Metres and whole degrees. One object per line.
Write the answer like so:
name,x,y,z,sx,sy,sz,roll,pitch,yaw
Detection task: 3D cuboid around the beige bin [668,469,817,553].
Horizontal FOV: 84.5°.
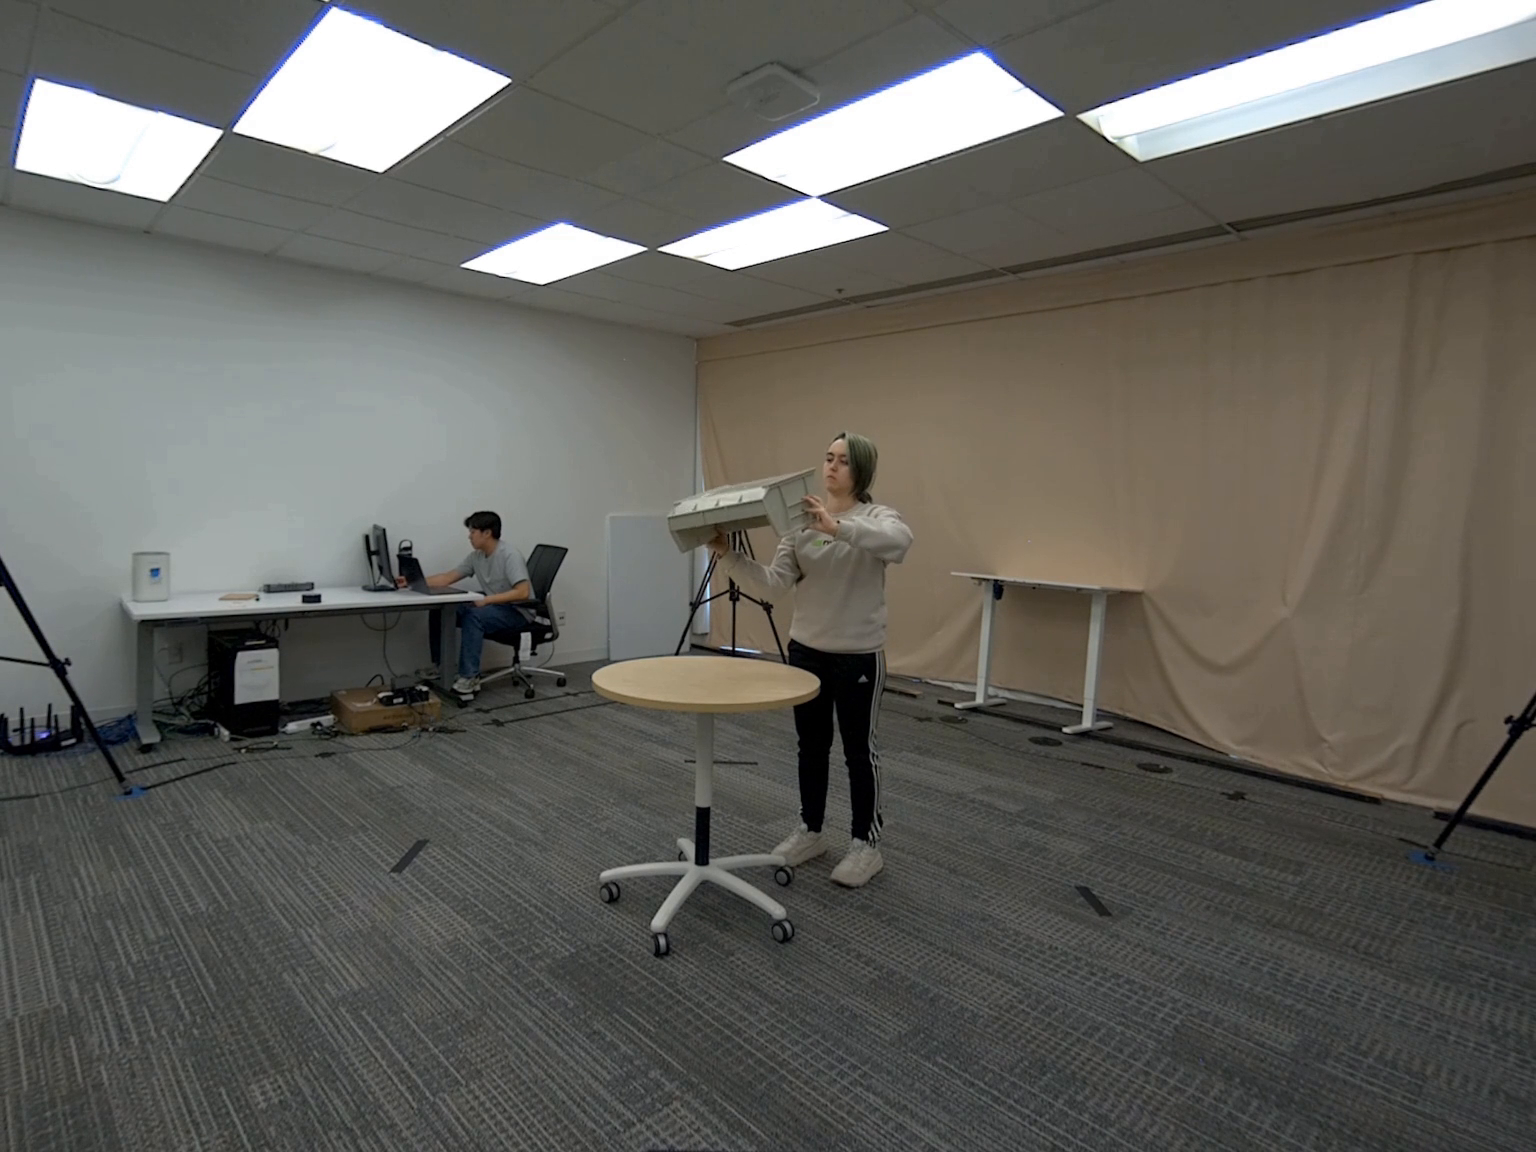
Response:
beige bin,-0.077,-0.220,2.912,0.430,0.187,0.373,-8,12,35
